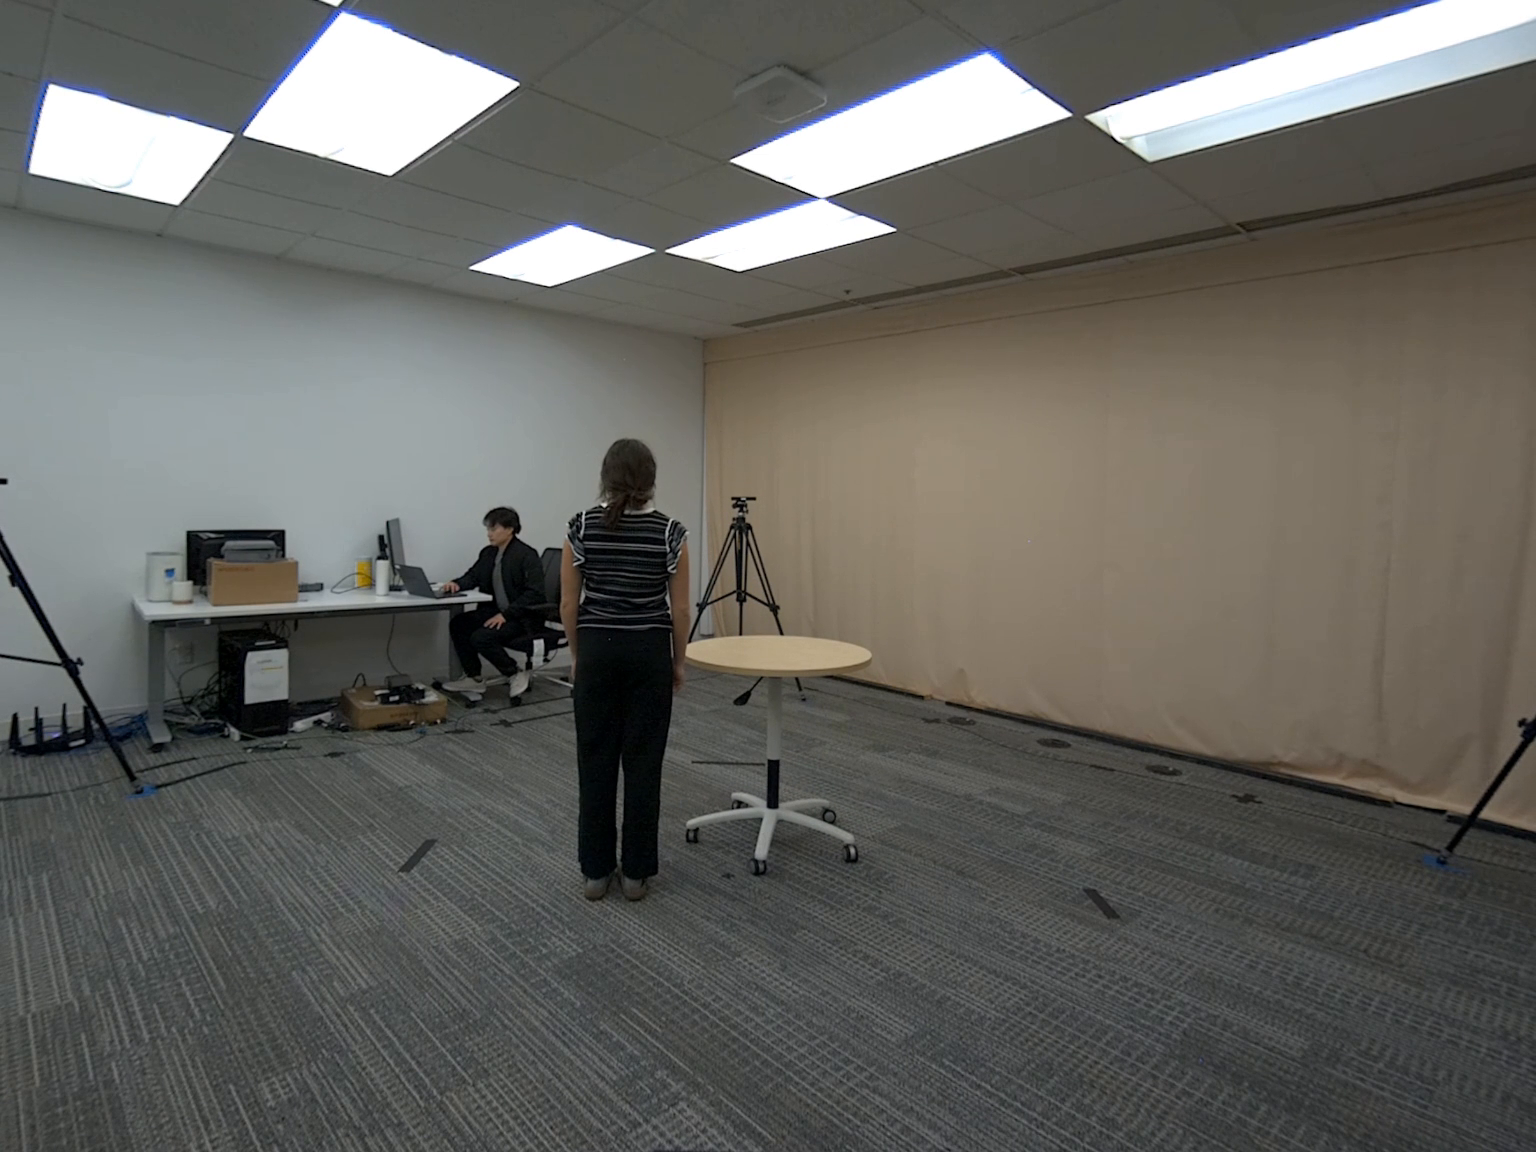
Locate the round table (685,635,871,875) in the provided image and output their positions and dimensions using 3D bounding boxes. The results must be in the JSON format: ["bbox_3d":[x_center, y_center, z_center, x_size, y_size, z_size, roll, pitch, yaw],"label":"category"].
[{"bbox_3d":[0.025,0.696,3.419,0.763,0.792,0.766,1,4,-1],"label":"round table"}]
